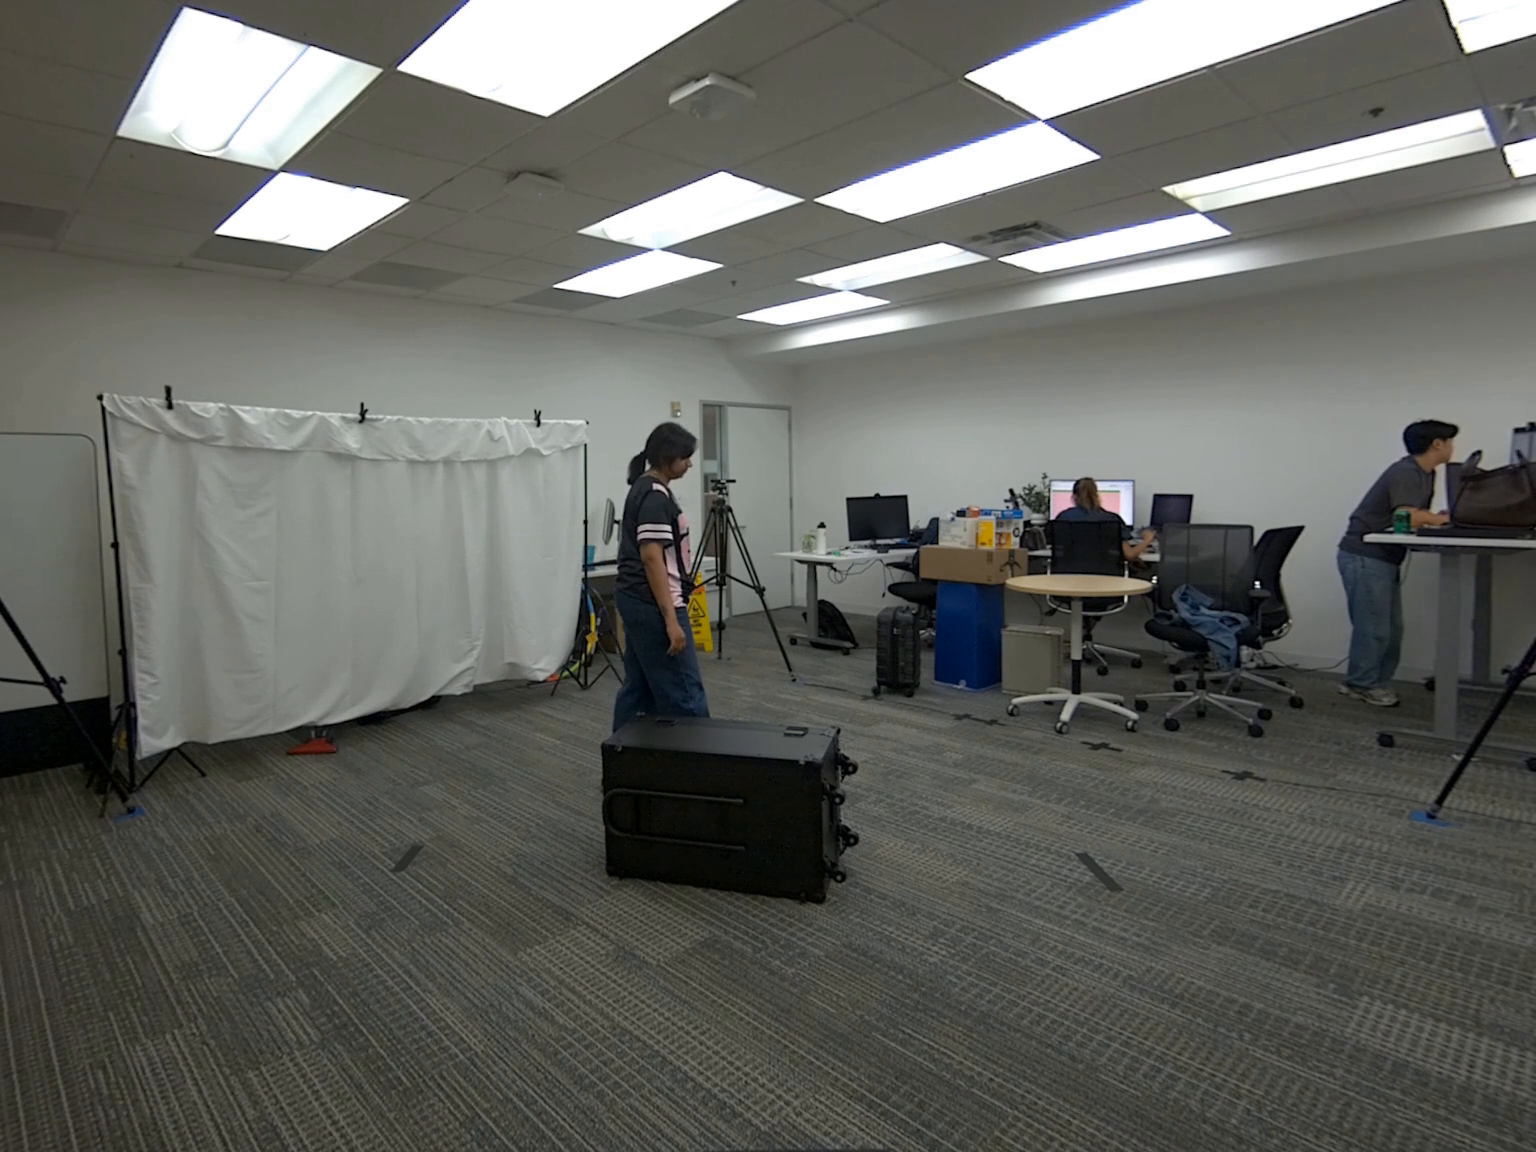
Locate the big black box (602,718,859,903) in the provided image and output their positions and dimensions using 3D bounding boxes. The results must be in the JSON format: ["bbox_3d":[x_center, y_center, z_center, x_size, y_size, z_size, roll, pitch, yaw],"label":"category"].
[{"bbox_3d":[-0.122,0.799,3.045,0.883,0.521,0.380,1,5,17],"label":"big black box"}]
